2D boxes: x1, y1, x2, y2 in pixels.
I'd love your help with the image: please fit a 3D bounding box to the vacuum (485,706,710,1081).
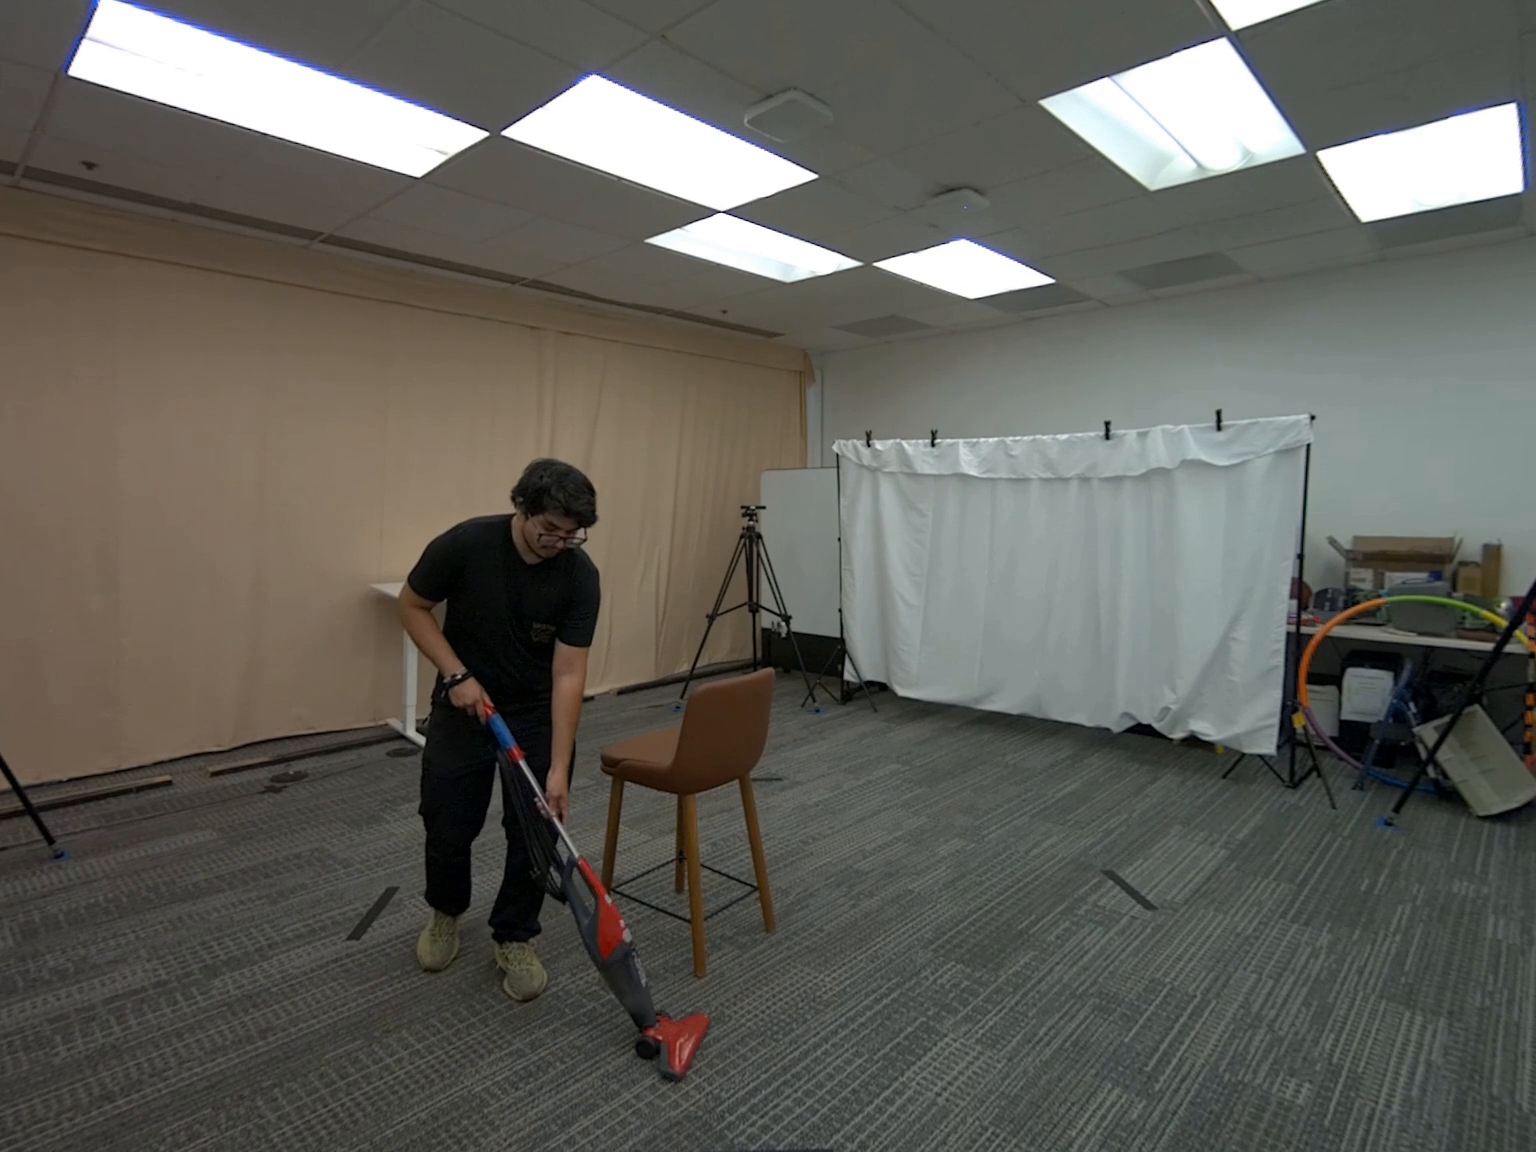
[{"bbox_3d":[-0.527,0.757,2.239,0.145,1.059,0.248,-35,-8,16],"label":"vacuum"}]
